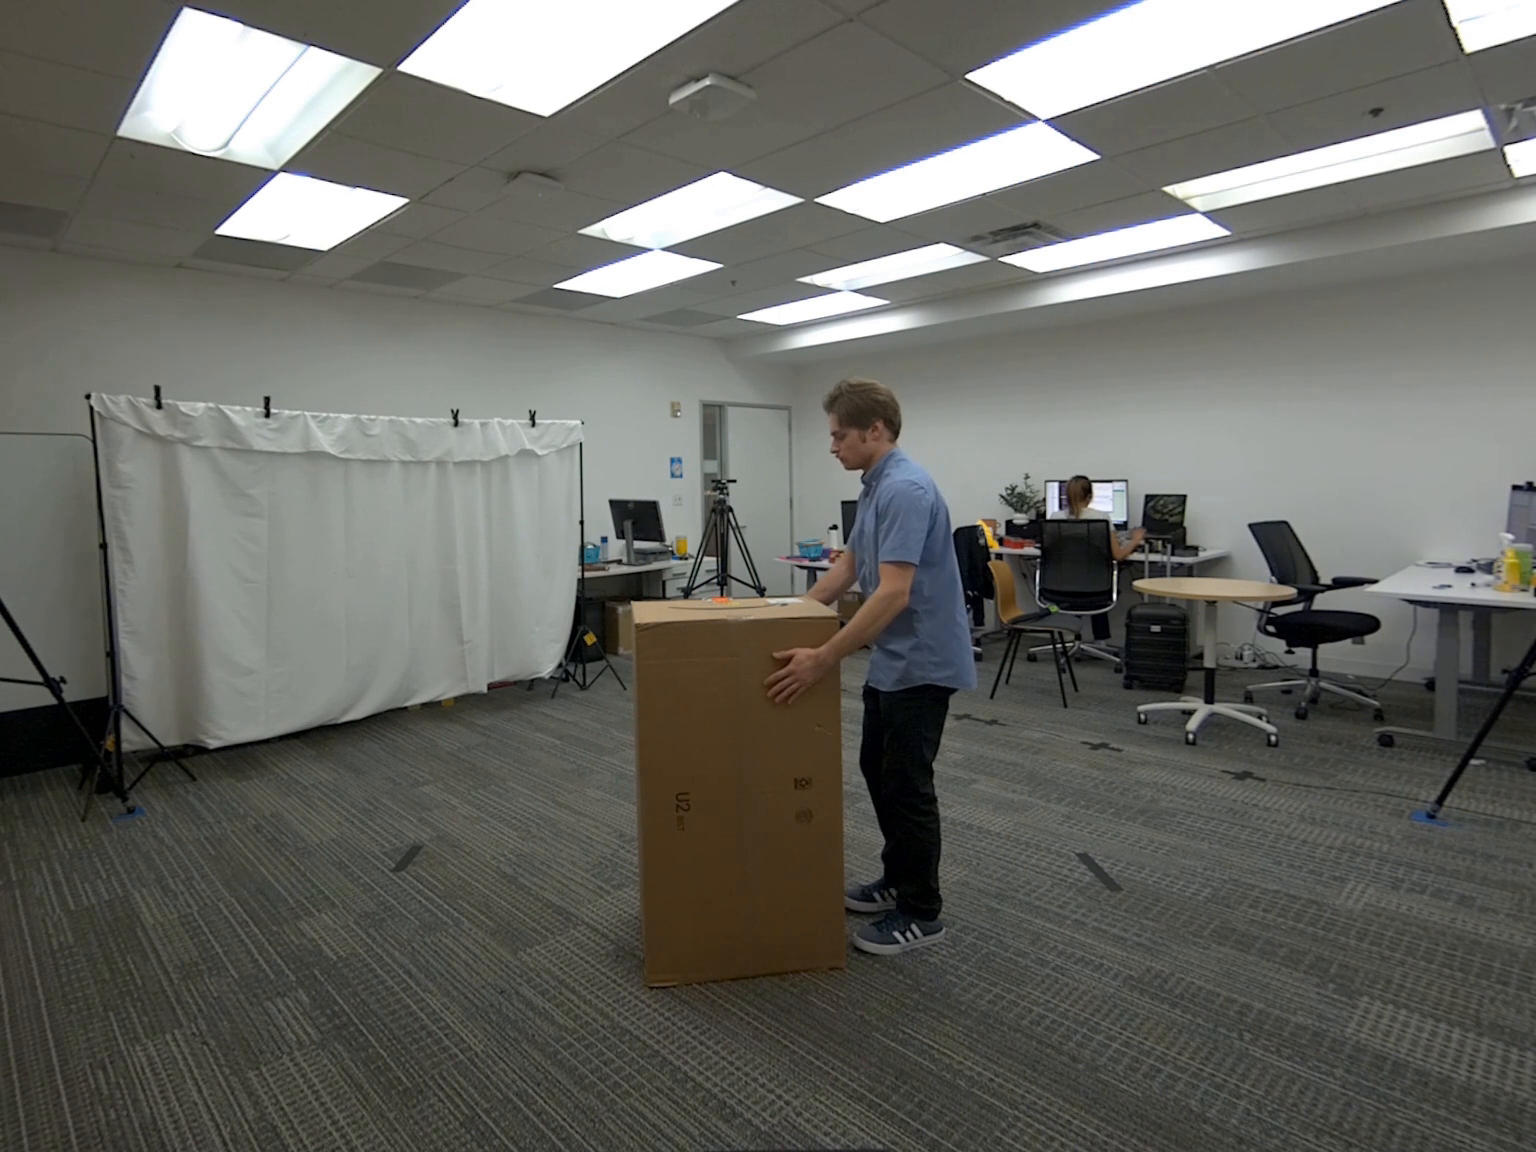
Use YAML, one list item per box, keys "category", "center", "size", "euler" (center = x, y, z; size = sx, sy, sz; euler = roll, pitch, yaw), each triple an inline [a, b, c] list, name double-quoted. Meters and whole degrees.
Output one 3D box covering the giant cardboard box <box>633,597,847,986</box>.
- category: "giant cardboard box"
  center: [-0.108, 0.598, 2.571]
  size: [0.580, 1.023, 0.451]
  euler: [-1, 4, -7]
